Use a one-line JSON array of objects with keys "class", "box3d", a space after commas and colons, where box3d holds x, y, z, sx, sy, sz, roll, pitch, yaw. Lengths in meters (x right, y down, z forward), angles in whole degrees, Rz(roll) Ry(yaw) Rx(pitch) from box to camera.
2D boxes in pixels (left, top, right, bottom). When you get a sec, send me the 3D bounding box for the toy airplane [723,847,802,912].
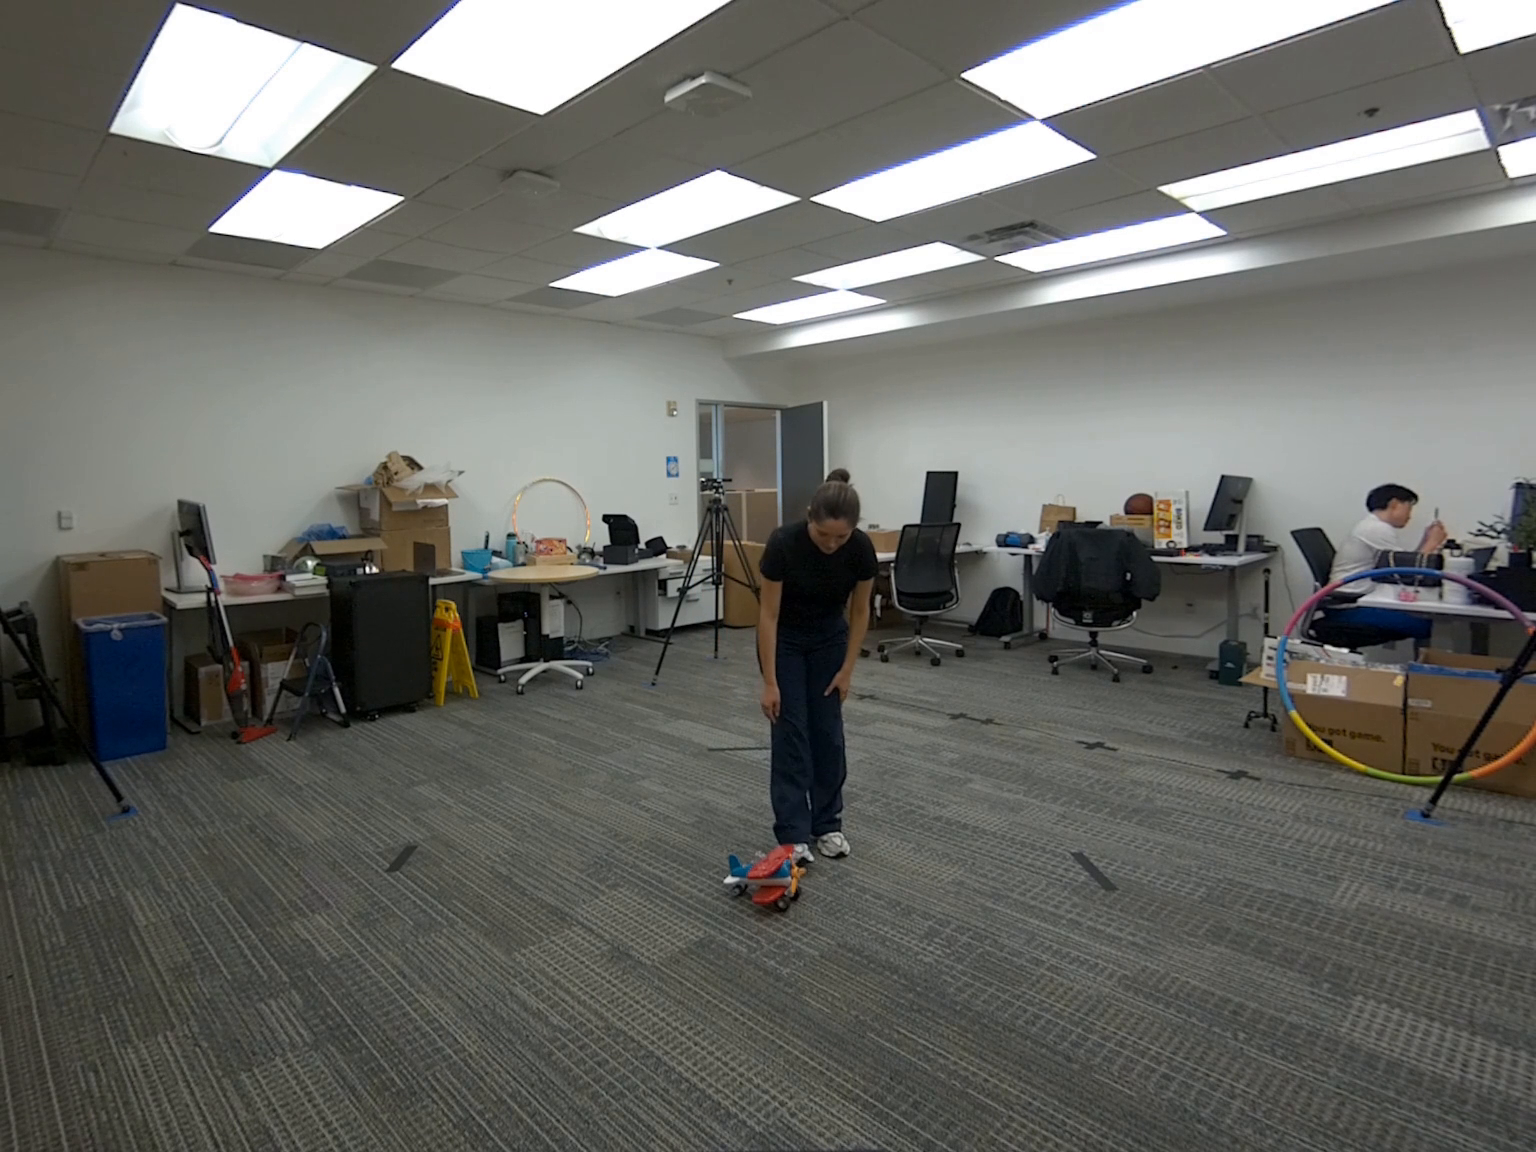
[{"class": "toy airplane", "box3d": [-0.018, 1.004, 2.827, 0.259, 0.156, 0.252, 0, 6, 0]}]
